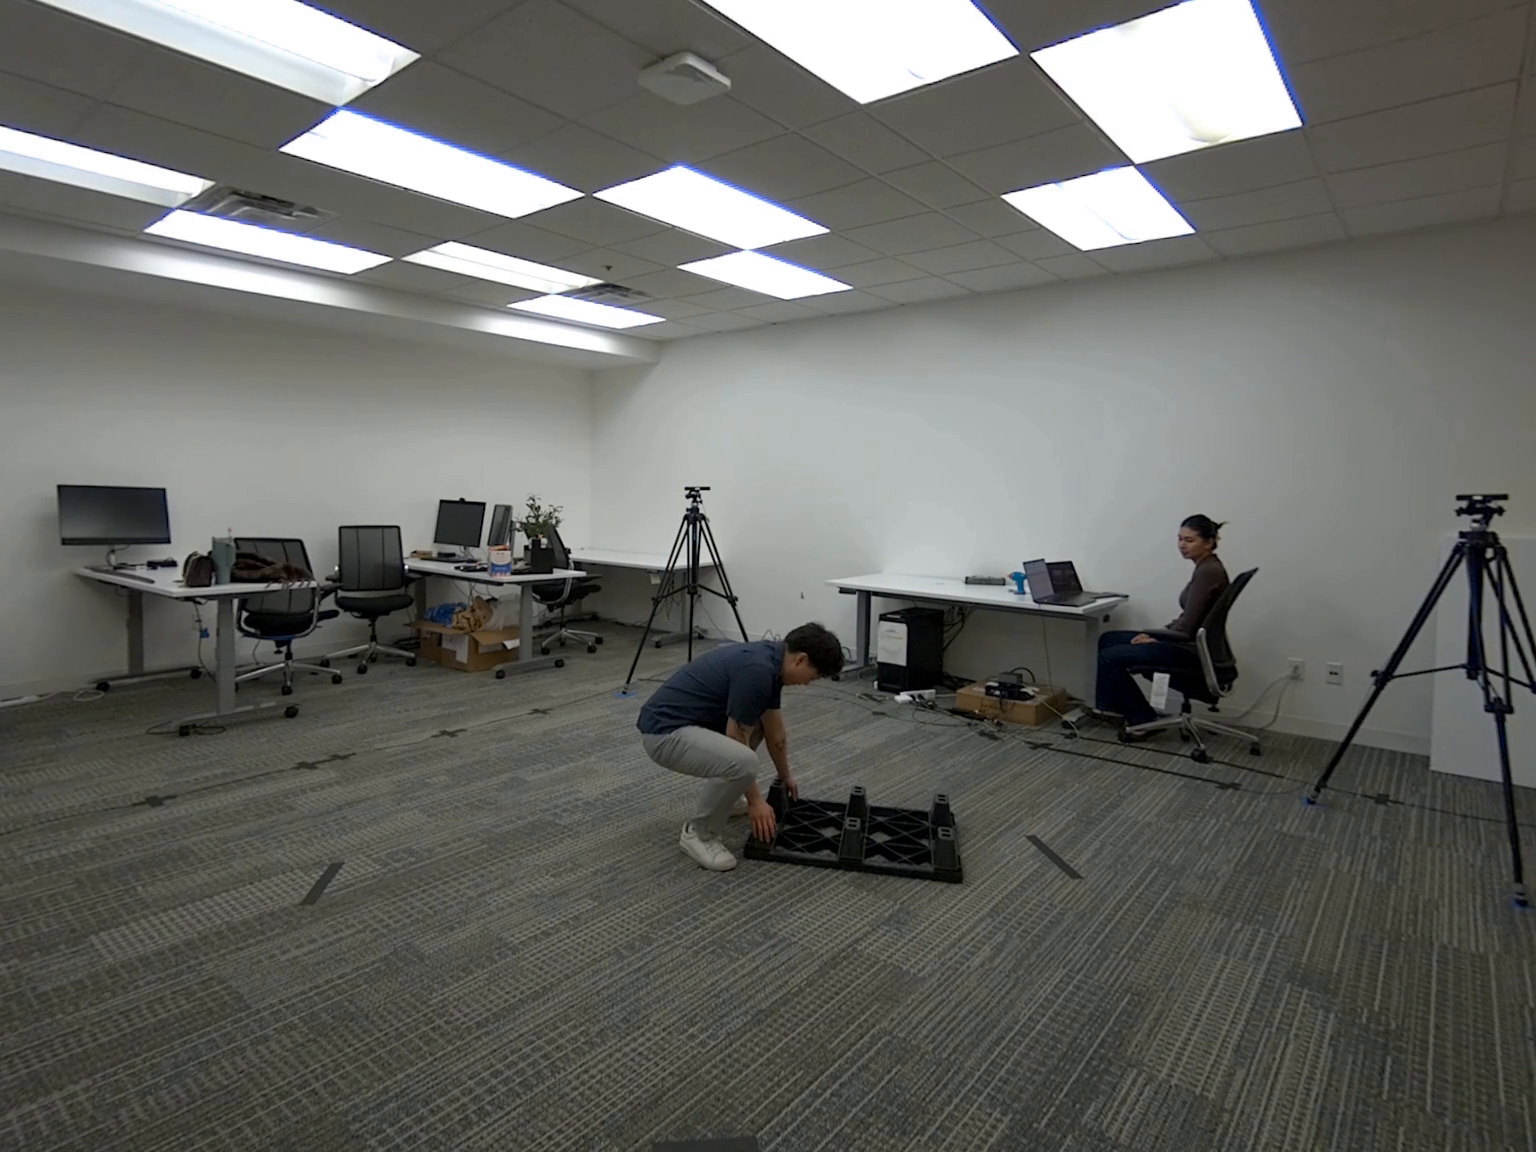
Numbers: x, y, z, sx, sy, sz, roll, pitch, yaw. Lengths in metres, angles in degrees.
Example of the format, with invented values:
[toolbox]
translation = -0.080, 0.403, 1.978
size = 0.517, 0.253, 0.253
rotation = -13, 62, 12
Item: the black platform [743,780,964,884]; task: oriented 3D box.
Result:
[black platform]
translation = 0.346, 0.985, 3.396
size = 0.816, 0.143, 0.600
rotation = 2, 6, 11
